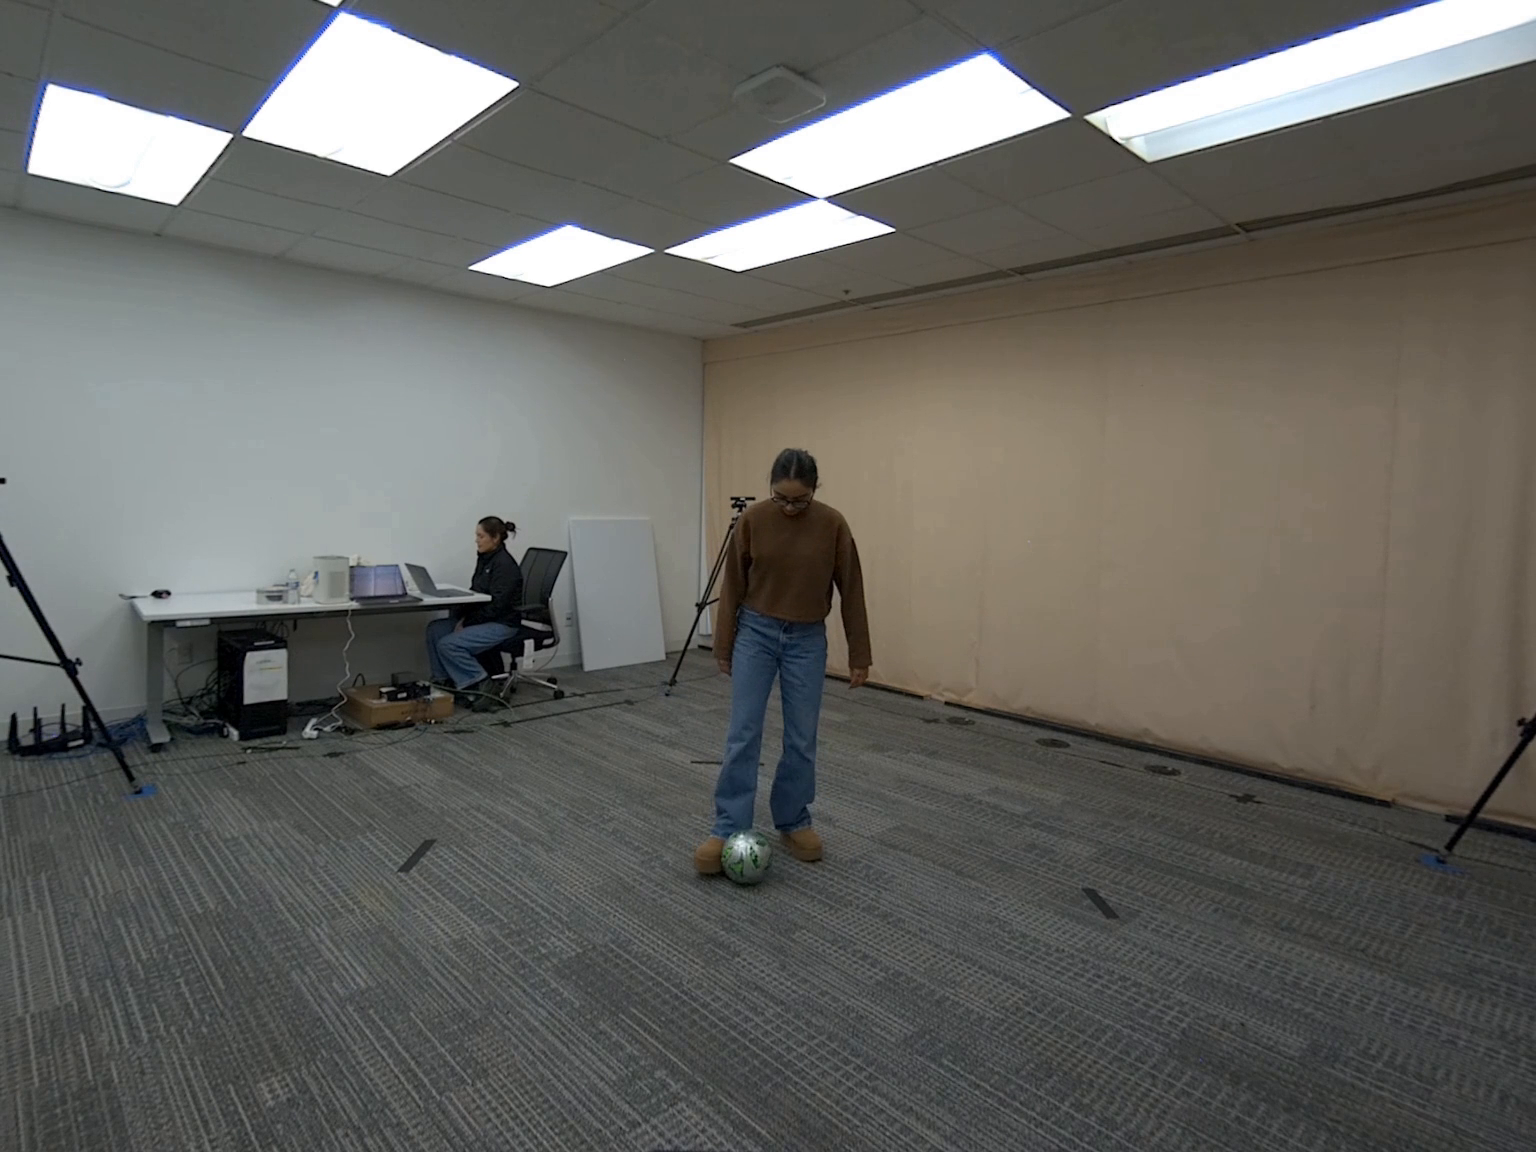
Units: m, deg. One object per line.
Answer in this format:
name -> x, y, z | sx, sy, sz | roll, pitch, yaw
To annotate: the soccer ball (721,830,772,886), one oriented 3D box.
soccer ball -> -0.074, 1.021, 3.055 | 0.187, 0.187, 0.188 | 1, 4, -1
